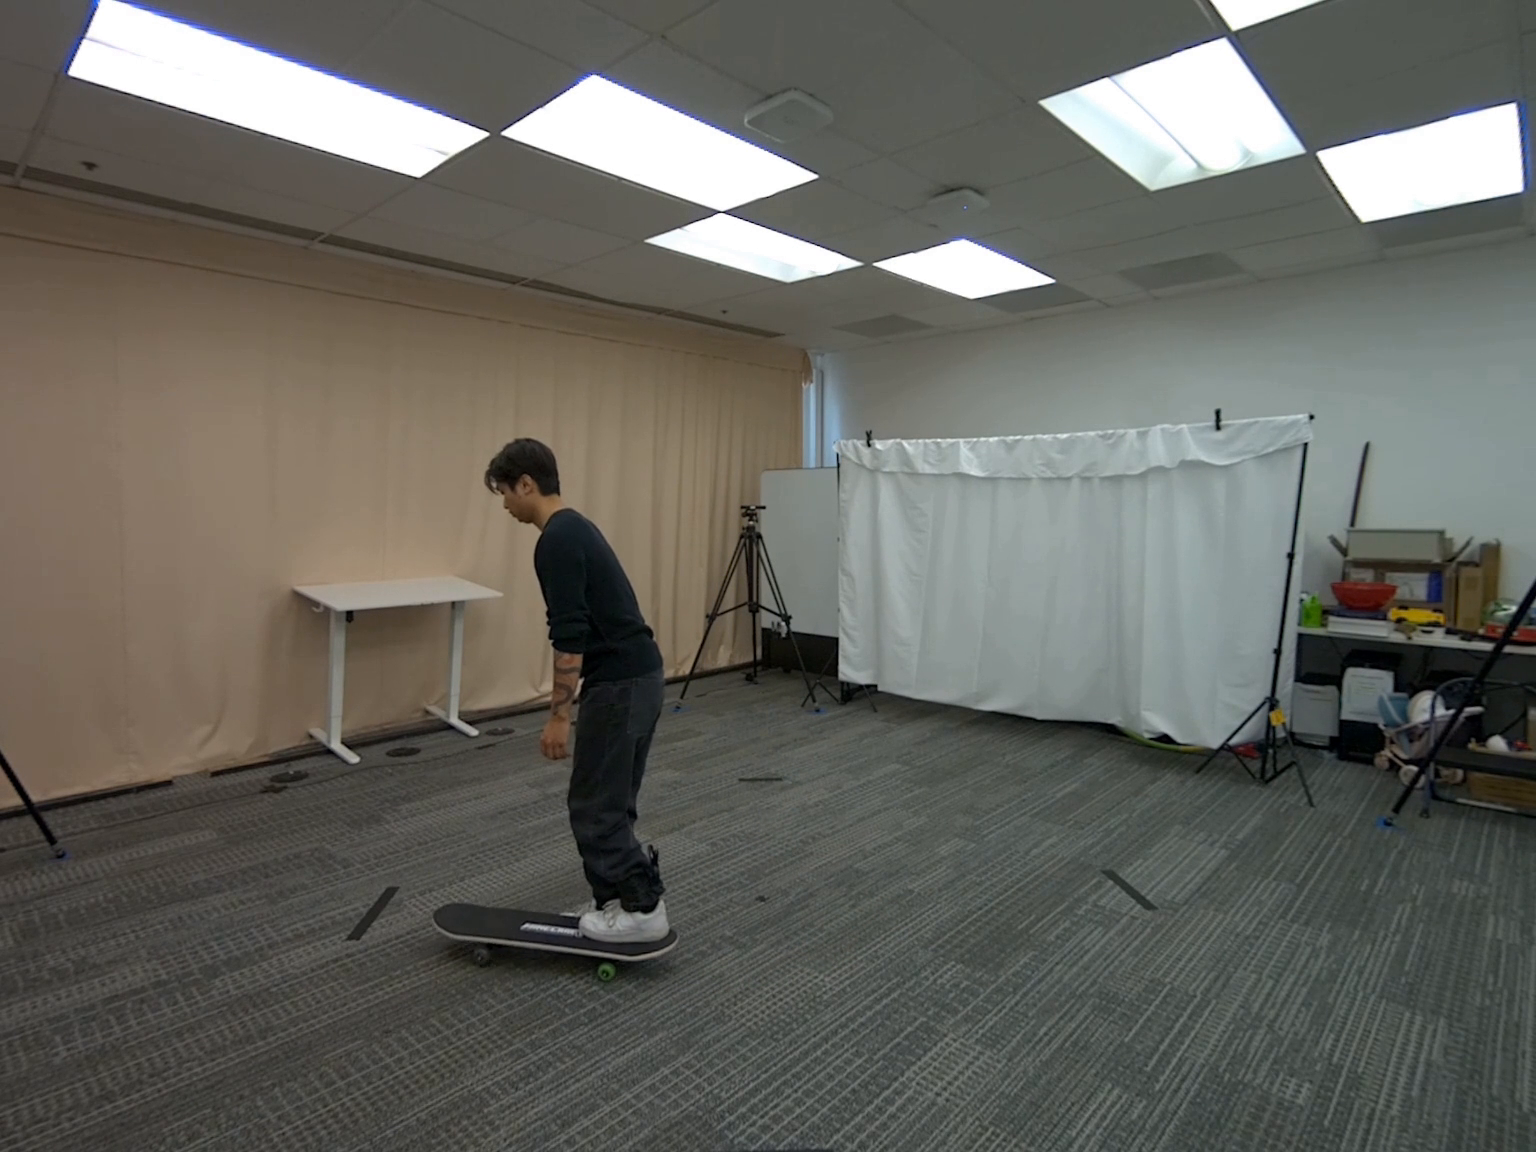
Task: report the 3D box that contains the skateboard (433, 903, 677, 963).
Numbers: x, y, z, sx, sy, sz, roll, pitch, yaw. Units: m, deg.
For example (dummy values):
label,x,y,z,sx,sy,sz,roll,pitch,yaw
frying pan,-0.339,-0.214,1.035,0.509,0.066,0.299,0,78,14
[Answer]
label,x,y,z,sx,sy,sz,roll,pitch,yaw
skateboard,-0.671,1.124,2.586,0.795,0.110,0.192,2,5,11
